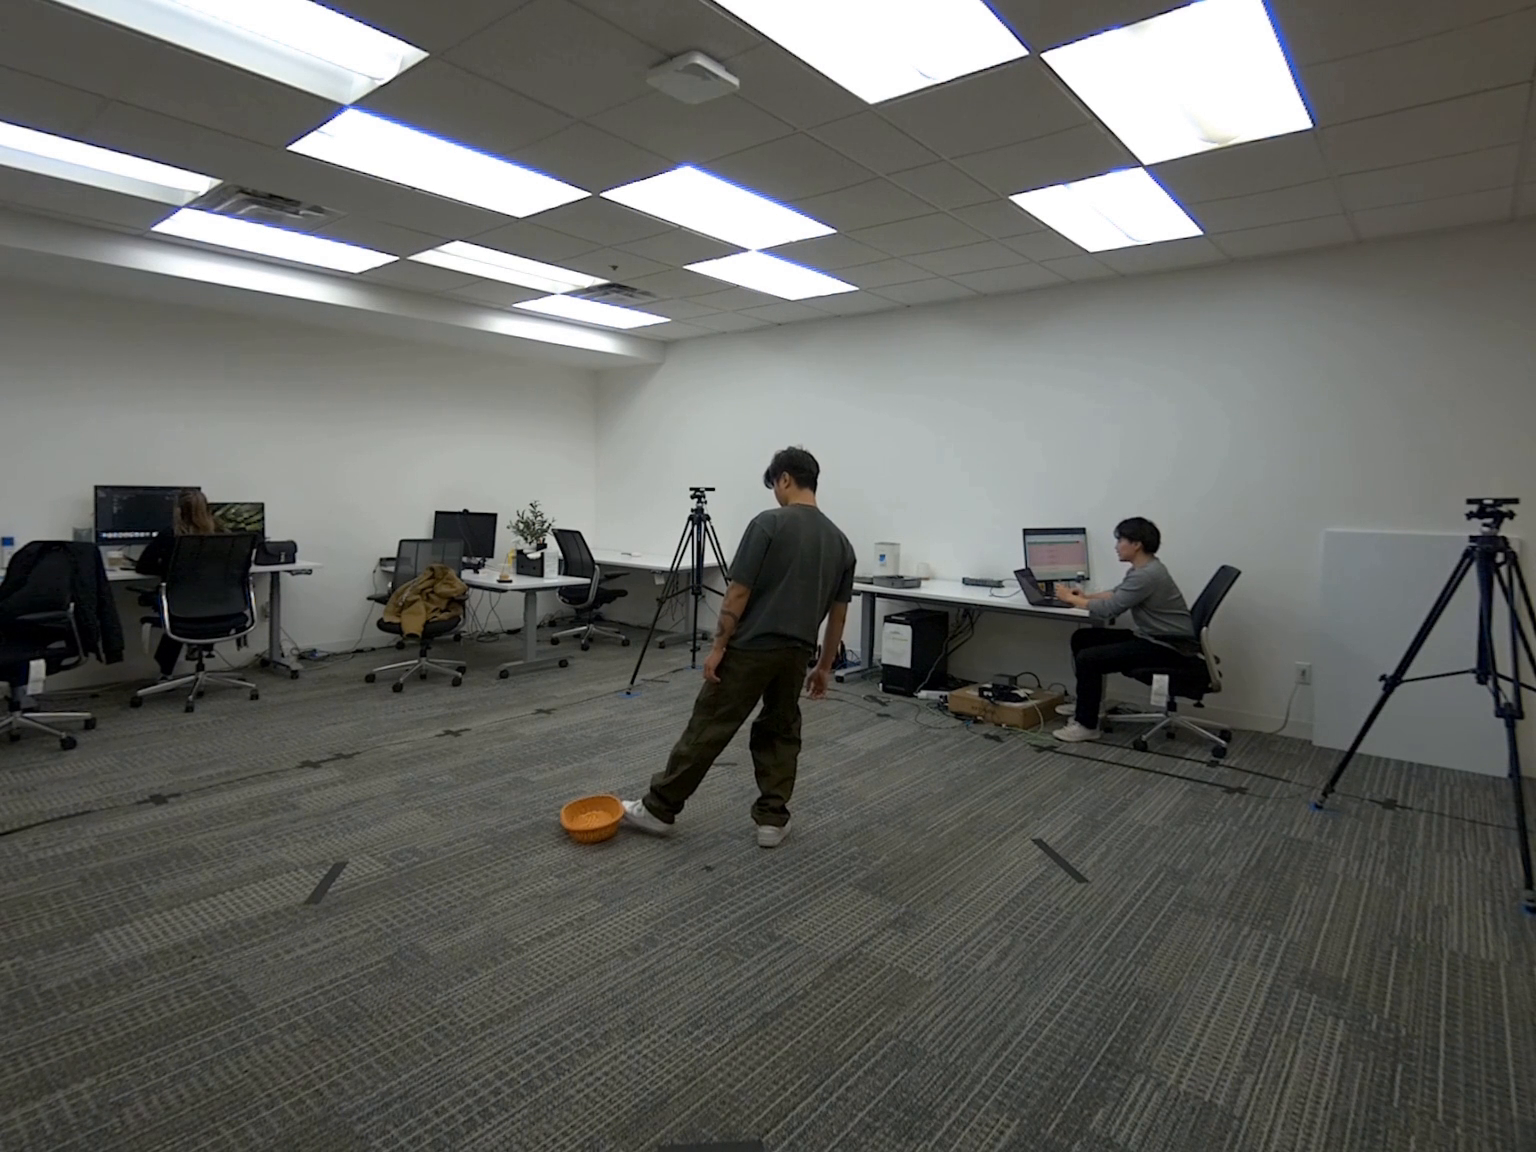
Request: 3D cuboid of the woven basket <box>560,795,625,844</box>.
[{"bbox_3d":[-0.717,0.980,3.437,0.249,0.073,0.357,-8,8,-15],"label":"woven basket"}]
